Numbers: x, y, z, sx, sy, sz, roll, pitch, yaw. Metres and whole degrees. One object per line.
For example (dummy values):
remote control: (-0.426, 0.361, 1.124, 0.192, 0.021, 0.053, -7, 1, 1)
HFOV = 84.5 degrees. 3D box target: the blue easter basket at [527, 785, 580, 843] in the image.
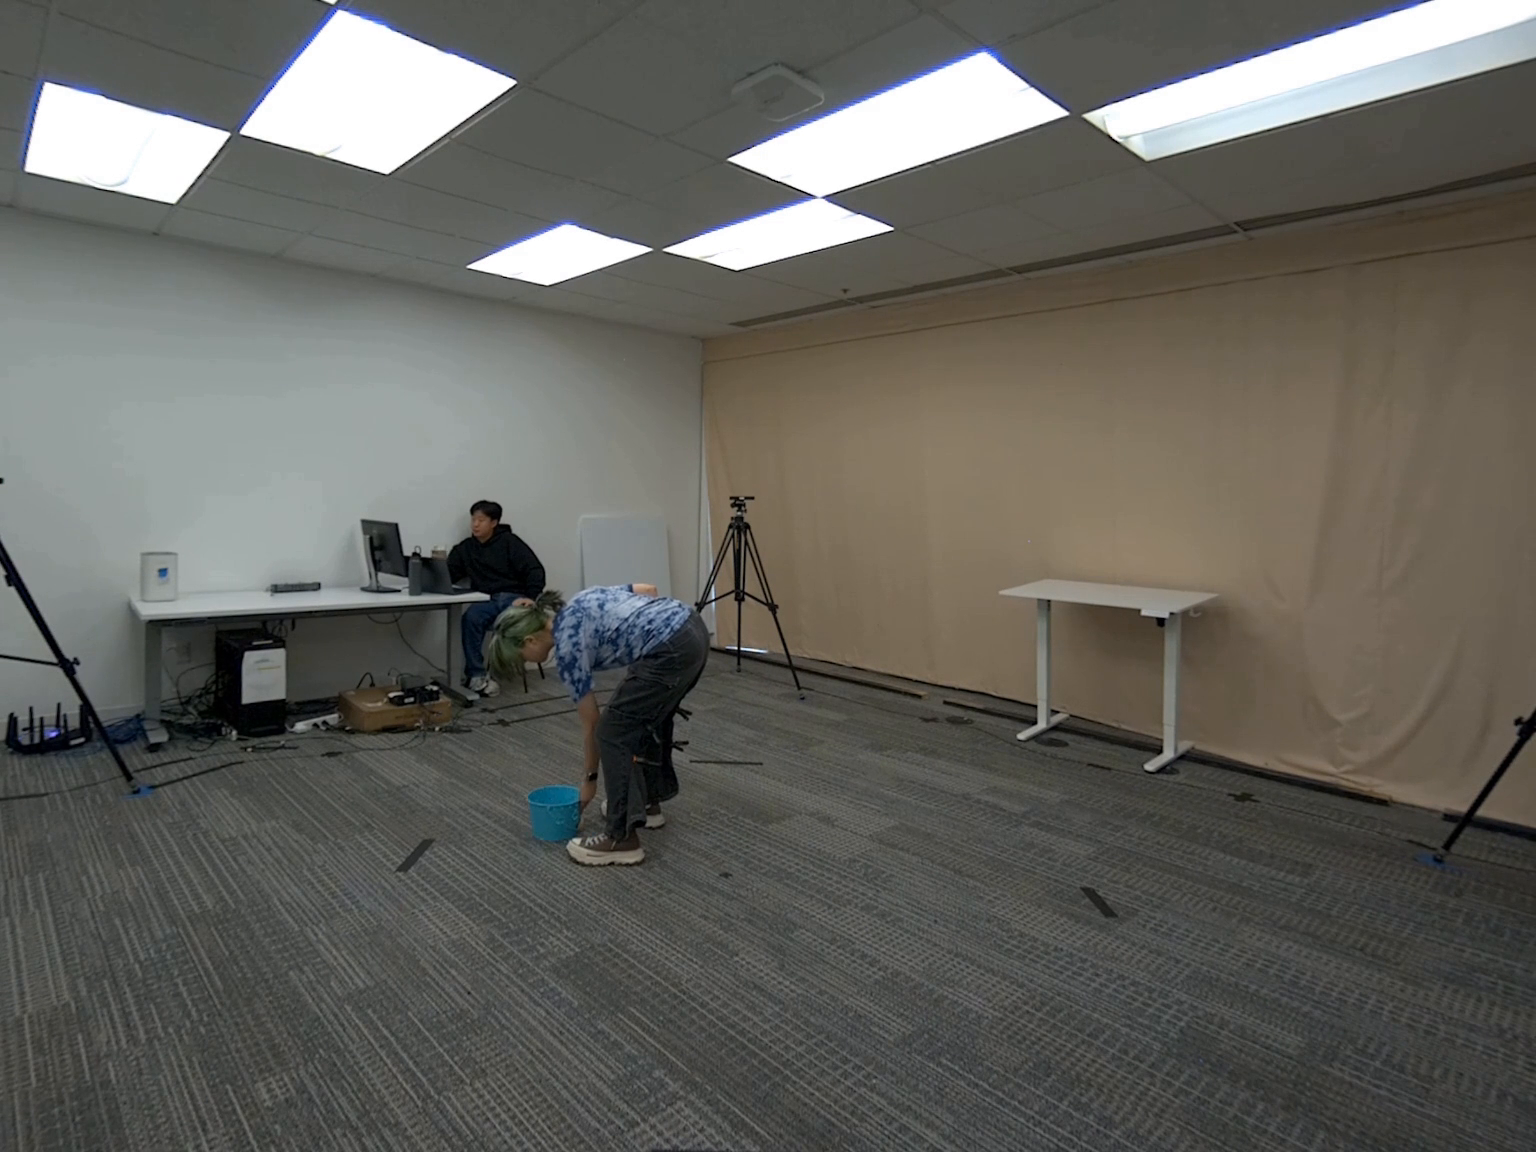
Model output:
blue easter basket: (-0.880, 0.978, 3.456, 0.243, 0.155, 0.244, 1, 5, -1)
